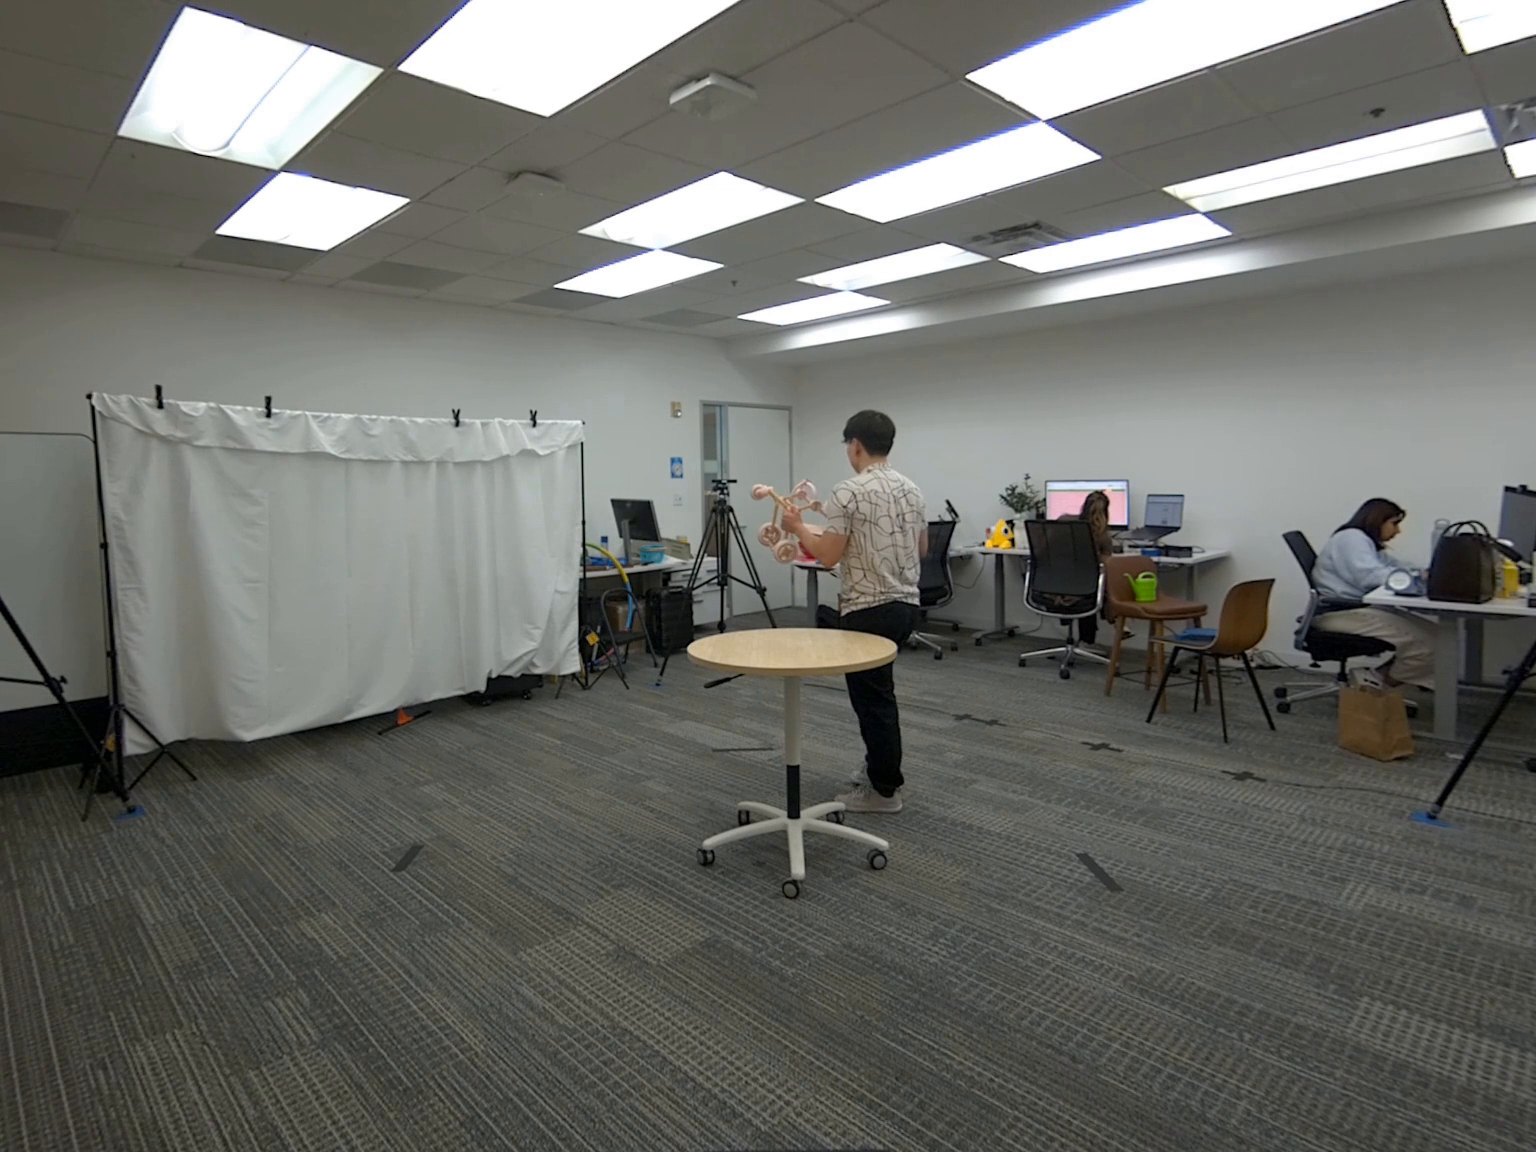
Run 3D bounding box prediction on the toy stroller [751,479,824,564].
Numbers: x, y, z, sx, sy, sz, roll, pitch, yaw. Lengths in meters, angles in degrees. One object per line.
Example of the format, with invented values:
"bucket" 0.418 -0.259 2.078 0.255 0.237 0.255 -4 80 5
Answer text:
"toy stroller" 0.191 -0.267 3.796 0.530 0.337 0.288 -7 14 -10
